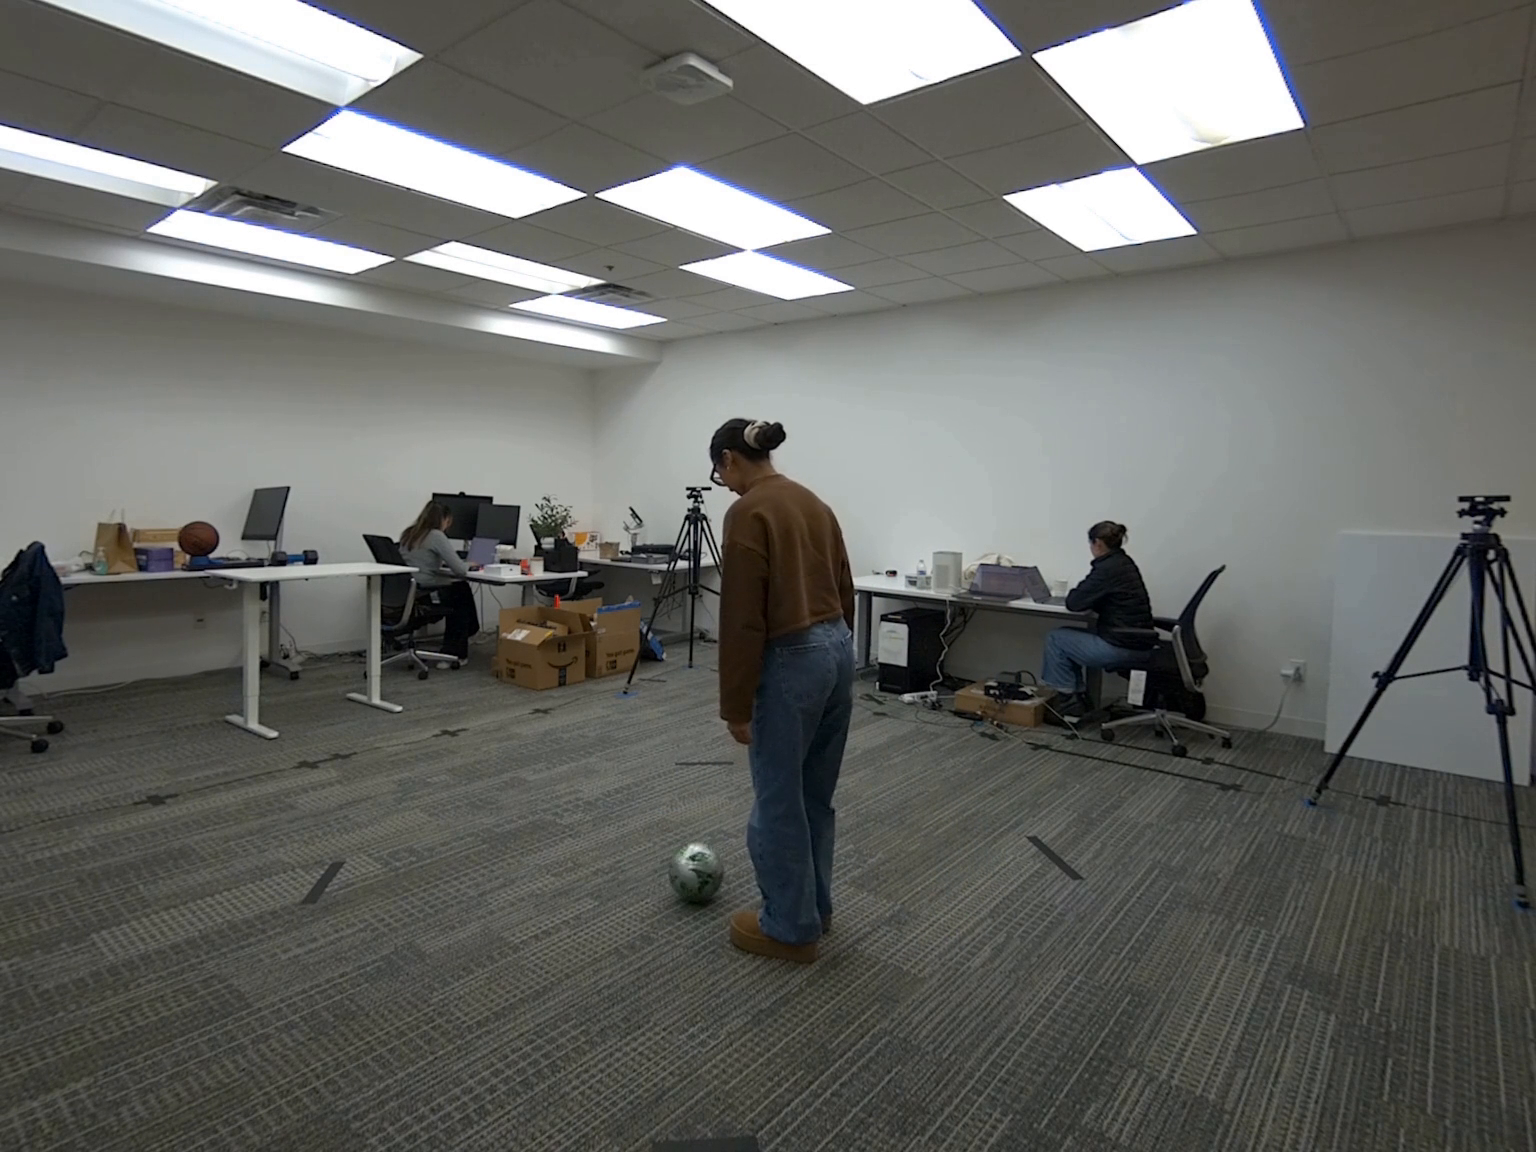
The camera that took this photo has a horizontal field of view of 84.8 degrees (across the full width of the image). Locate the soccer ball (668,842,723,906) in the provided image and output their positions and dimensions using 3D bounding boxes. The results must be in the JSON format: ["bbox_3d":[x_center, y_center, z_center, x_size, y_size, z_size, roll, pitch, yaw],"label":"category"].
[{"bbox_3d":[-0.249,0.994,2.867,0.187,0.187,0.188,1,4,-2],"label":"soccer ball"}]
